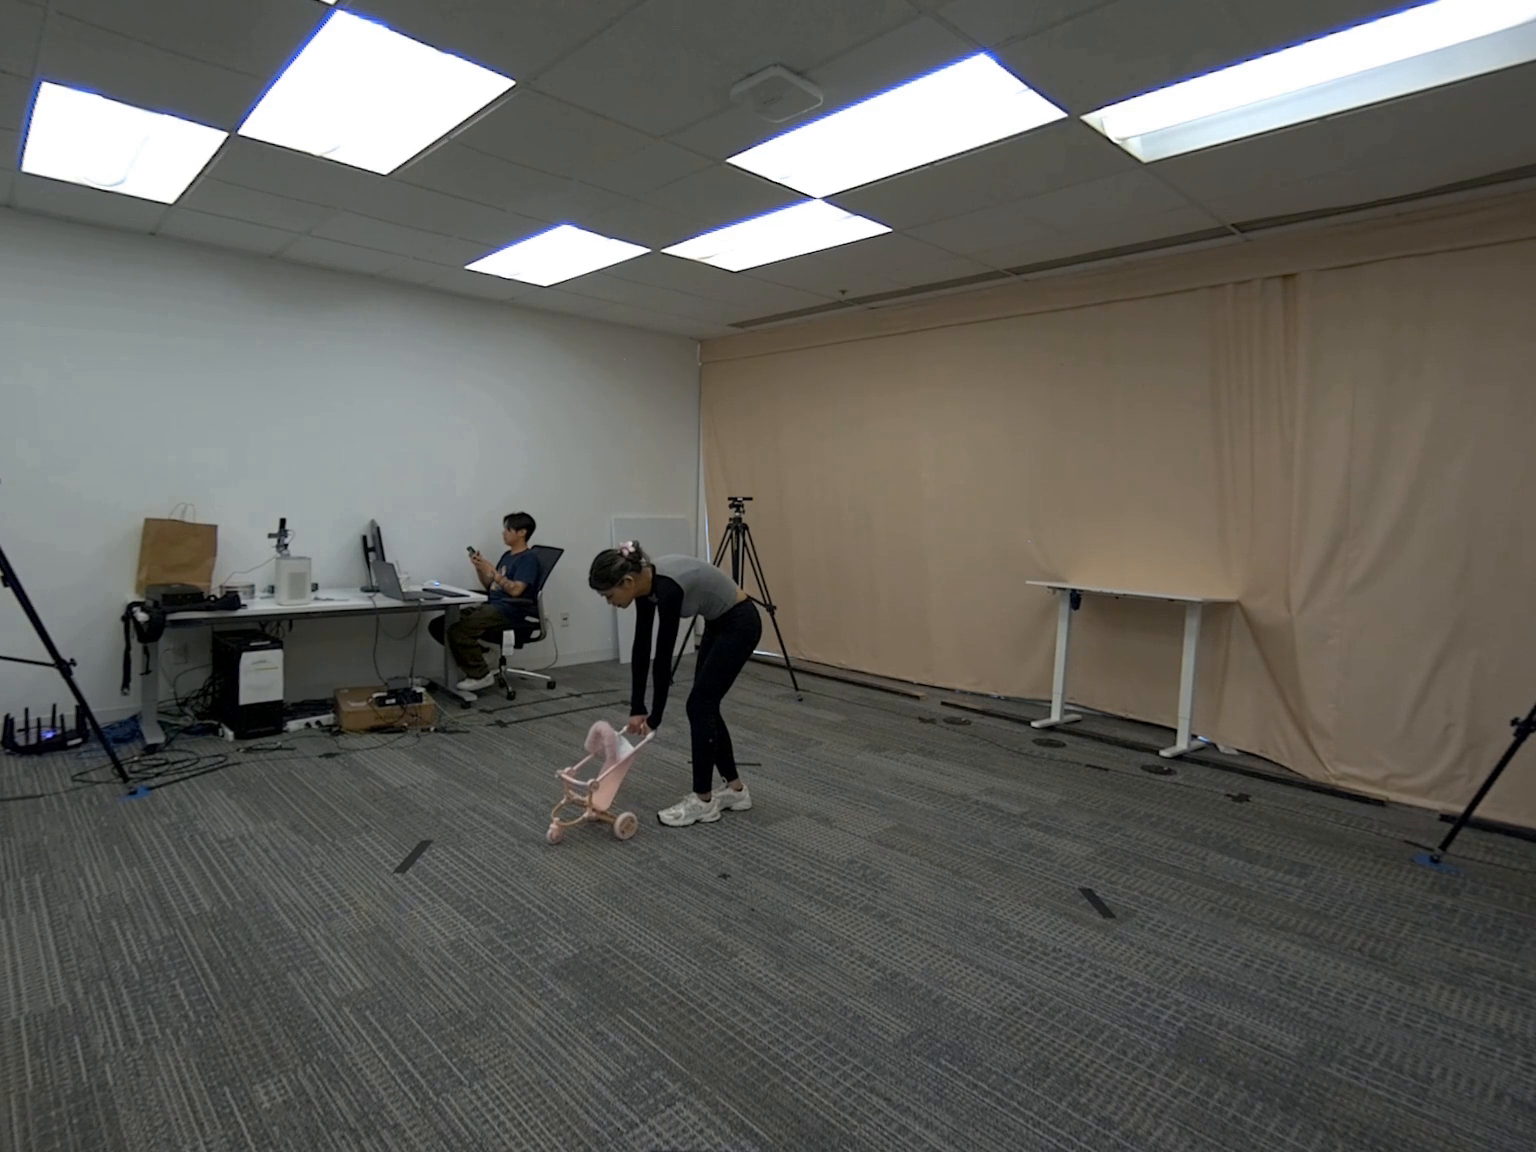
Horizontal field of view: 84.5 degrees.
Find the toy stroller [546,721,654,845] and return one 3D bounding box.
[{"bbox_3d":[-0.712,0.838,3.470,0.332,0.537,0.288,20,-9,-35],"label":"toy stroller"}]
